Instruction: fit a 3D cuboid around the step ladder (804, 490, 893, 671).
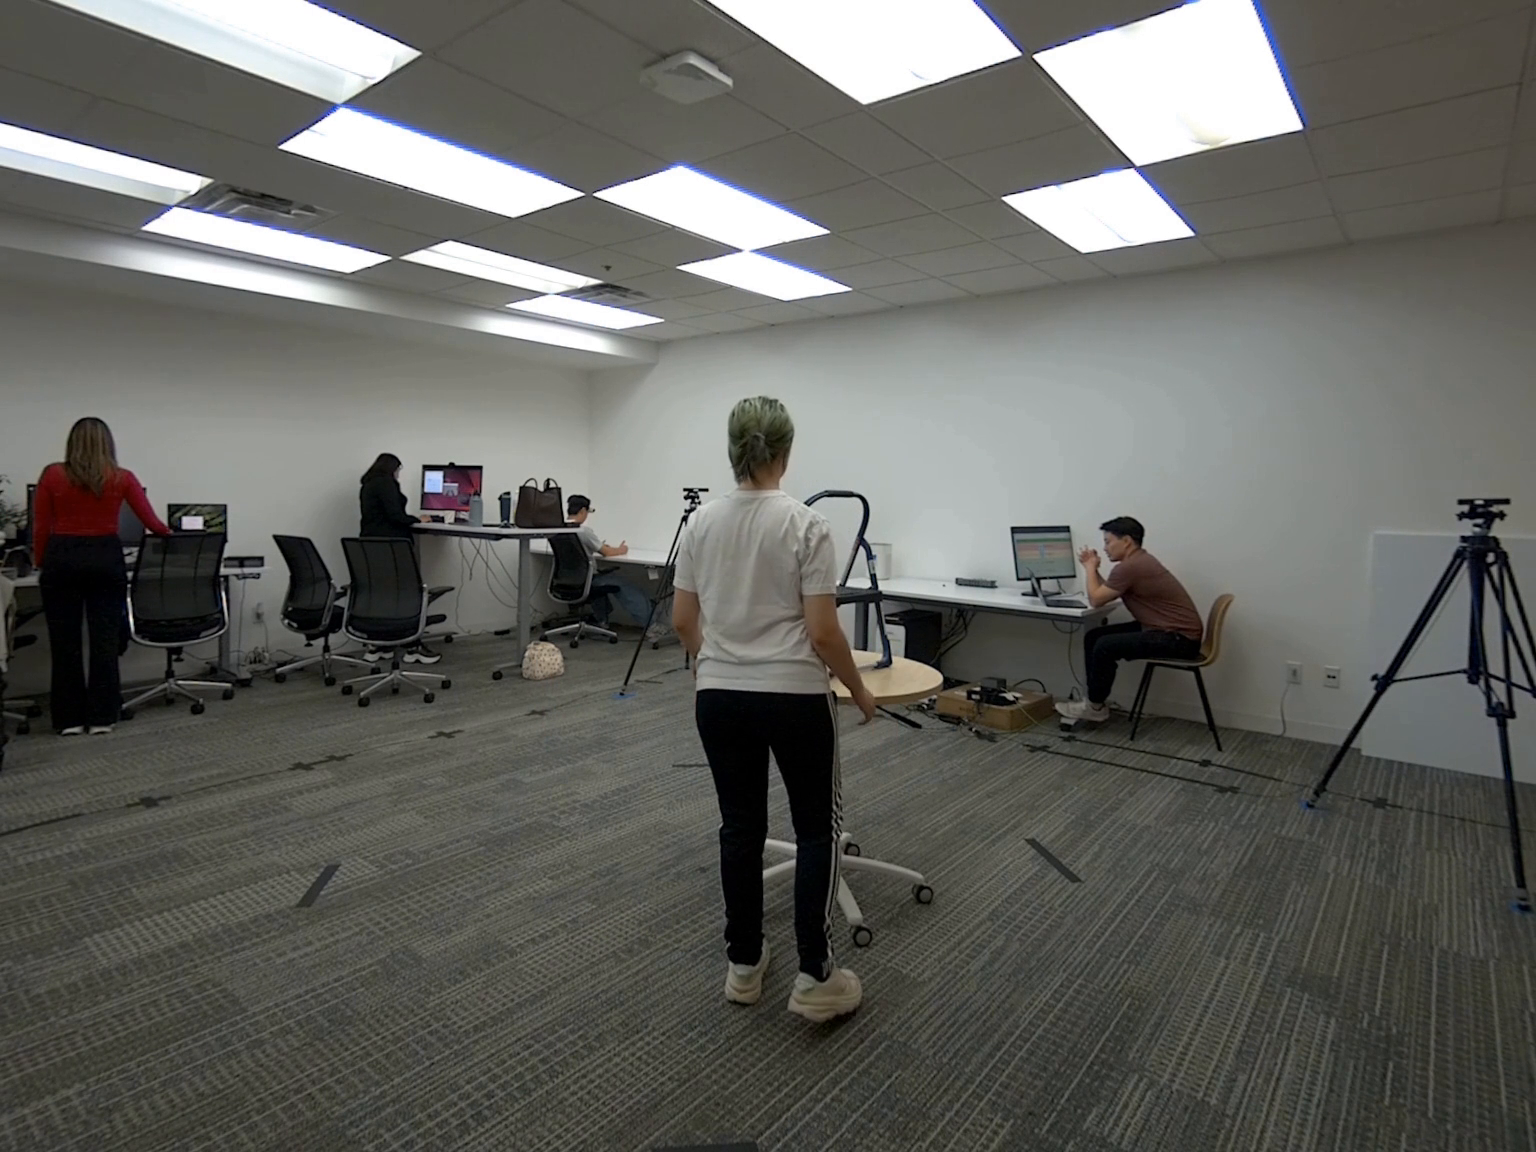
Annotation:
[{"bbox_3d":[0.179,0.007,2.939,0.361,0.604,0.417,5,5,44],"label":"step ladder"}]
